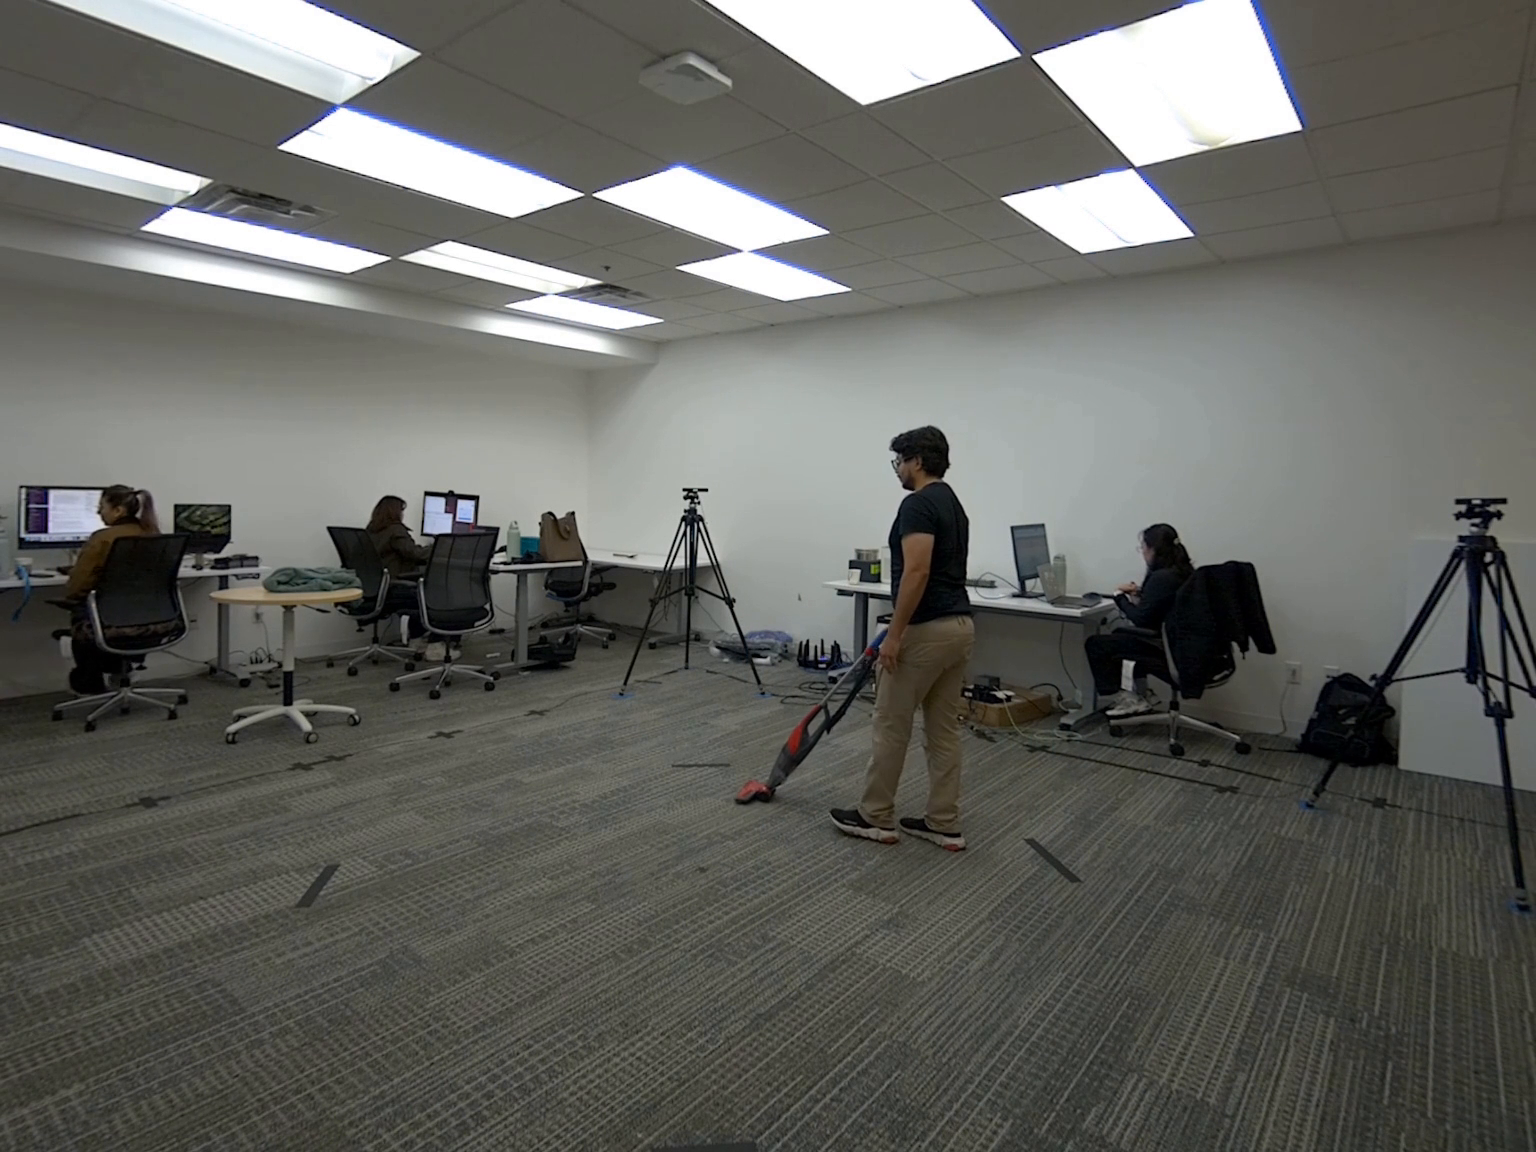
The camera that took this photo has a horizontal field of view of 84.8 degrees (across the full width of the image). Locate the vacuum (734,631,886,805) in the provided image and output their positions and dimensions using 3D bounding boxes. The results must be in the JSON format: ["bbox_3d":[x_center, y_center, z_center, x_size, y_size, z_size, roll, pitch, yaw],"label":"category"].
[{"bbox_3d":[0.253,0.595,3.757,0.146,1.048,0.248,41,12,10],"label":"vacuum"}]
